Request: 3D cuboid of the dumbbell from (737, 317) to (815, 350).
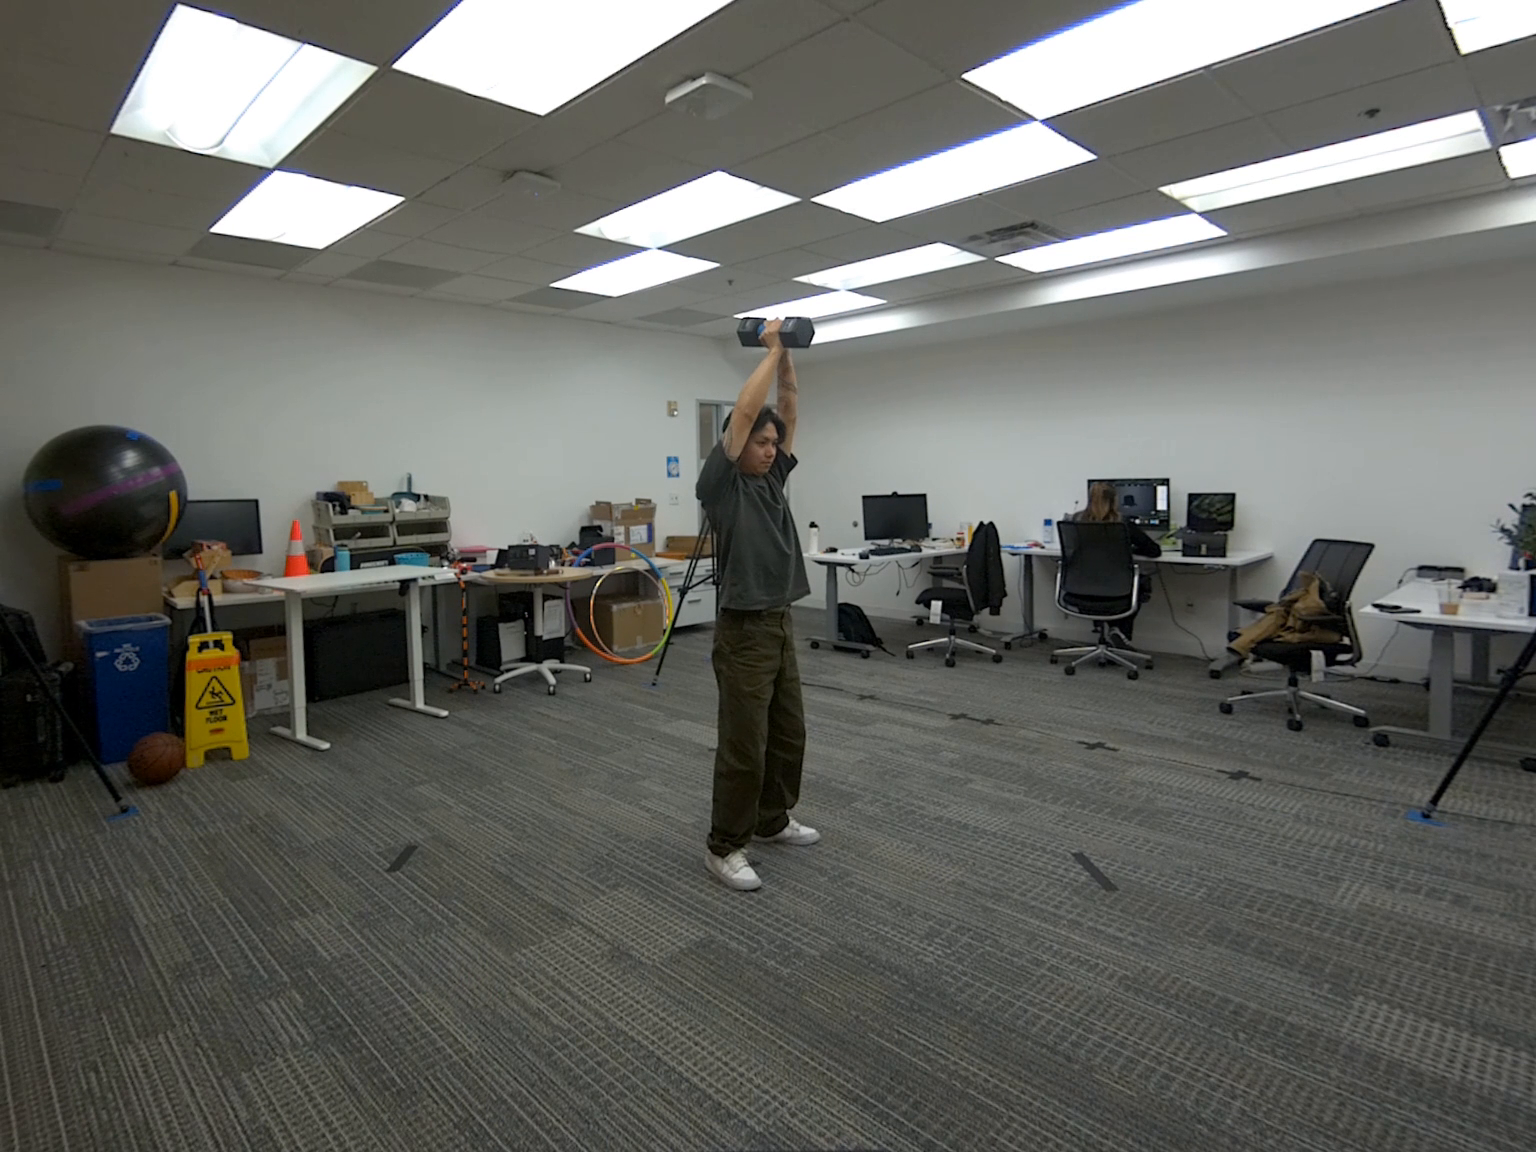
[{"bbox_3d":[0.031,-0.865,3.005,0.304,0.123,0.104,17,-10,46],"label":"dumbbell"}]
